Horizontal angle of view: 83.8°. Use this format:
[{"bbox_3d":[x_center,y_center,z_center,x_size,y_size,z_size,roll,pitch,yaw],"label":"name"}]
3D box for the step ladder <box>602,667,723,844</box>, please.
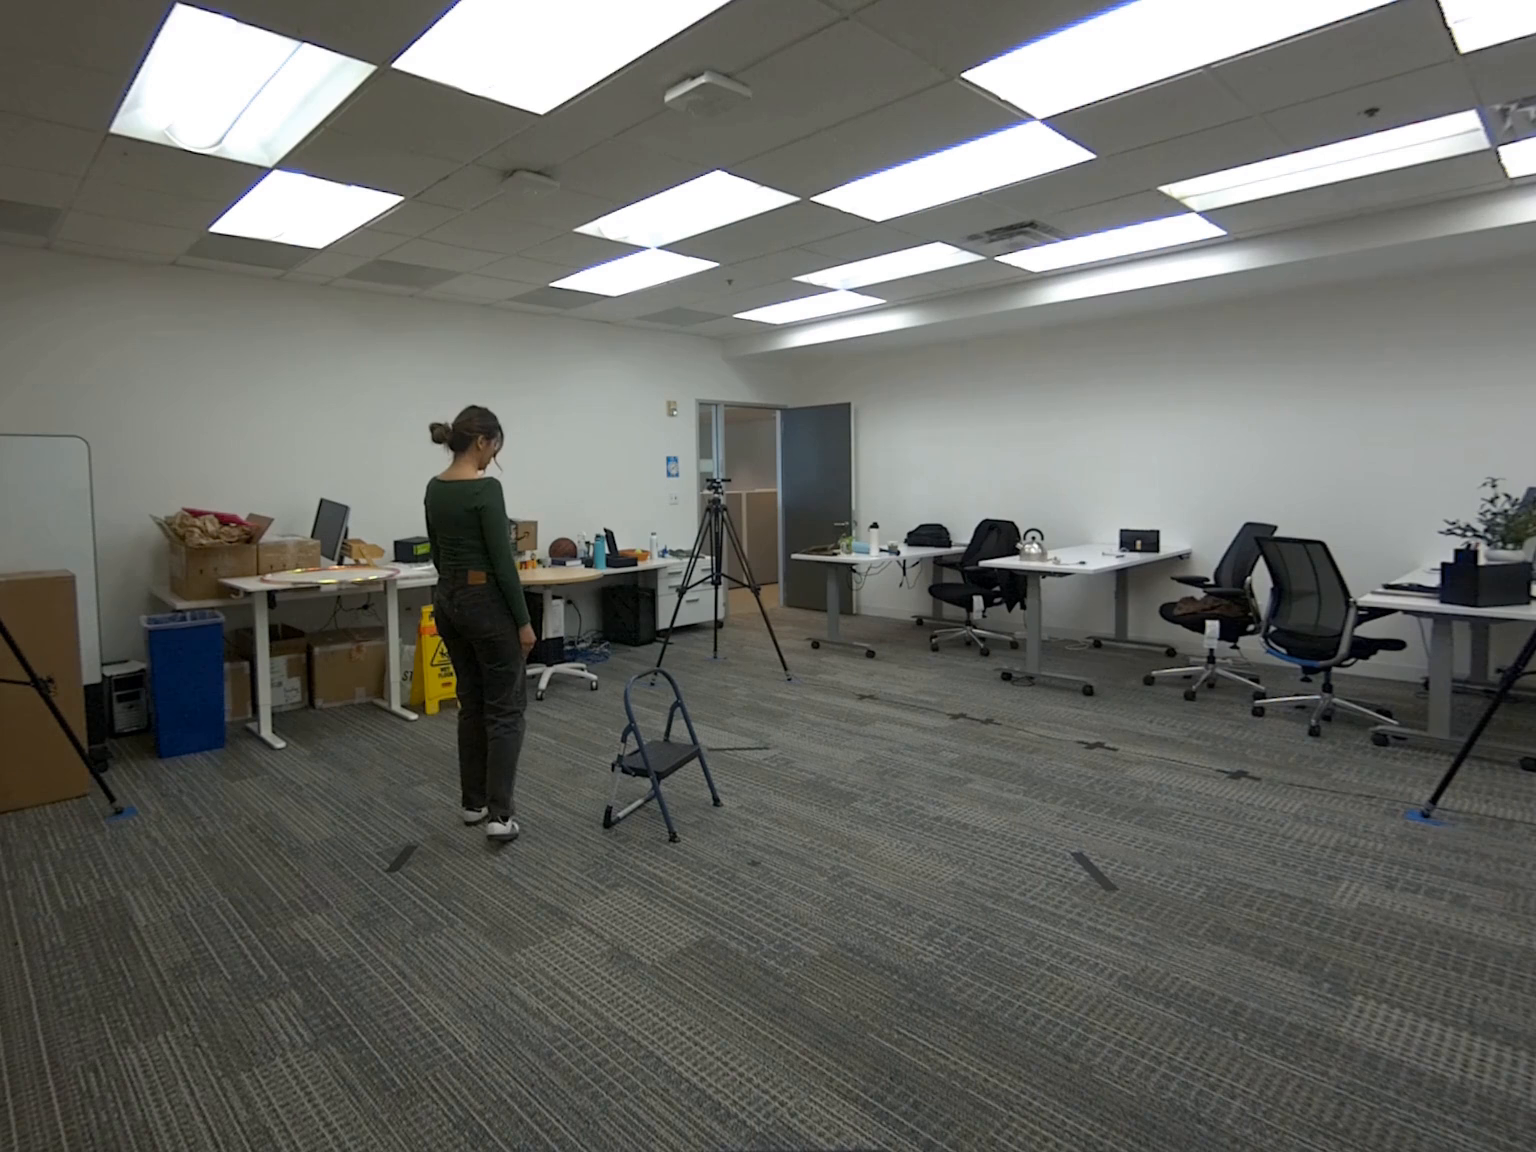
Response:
[{"bbox_3d":[-0.440,0.697,3.536,0.357,0.604,0.423,0,4,23],"label":"step ladder"}]
